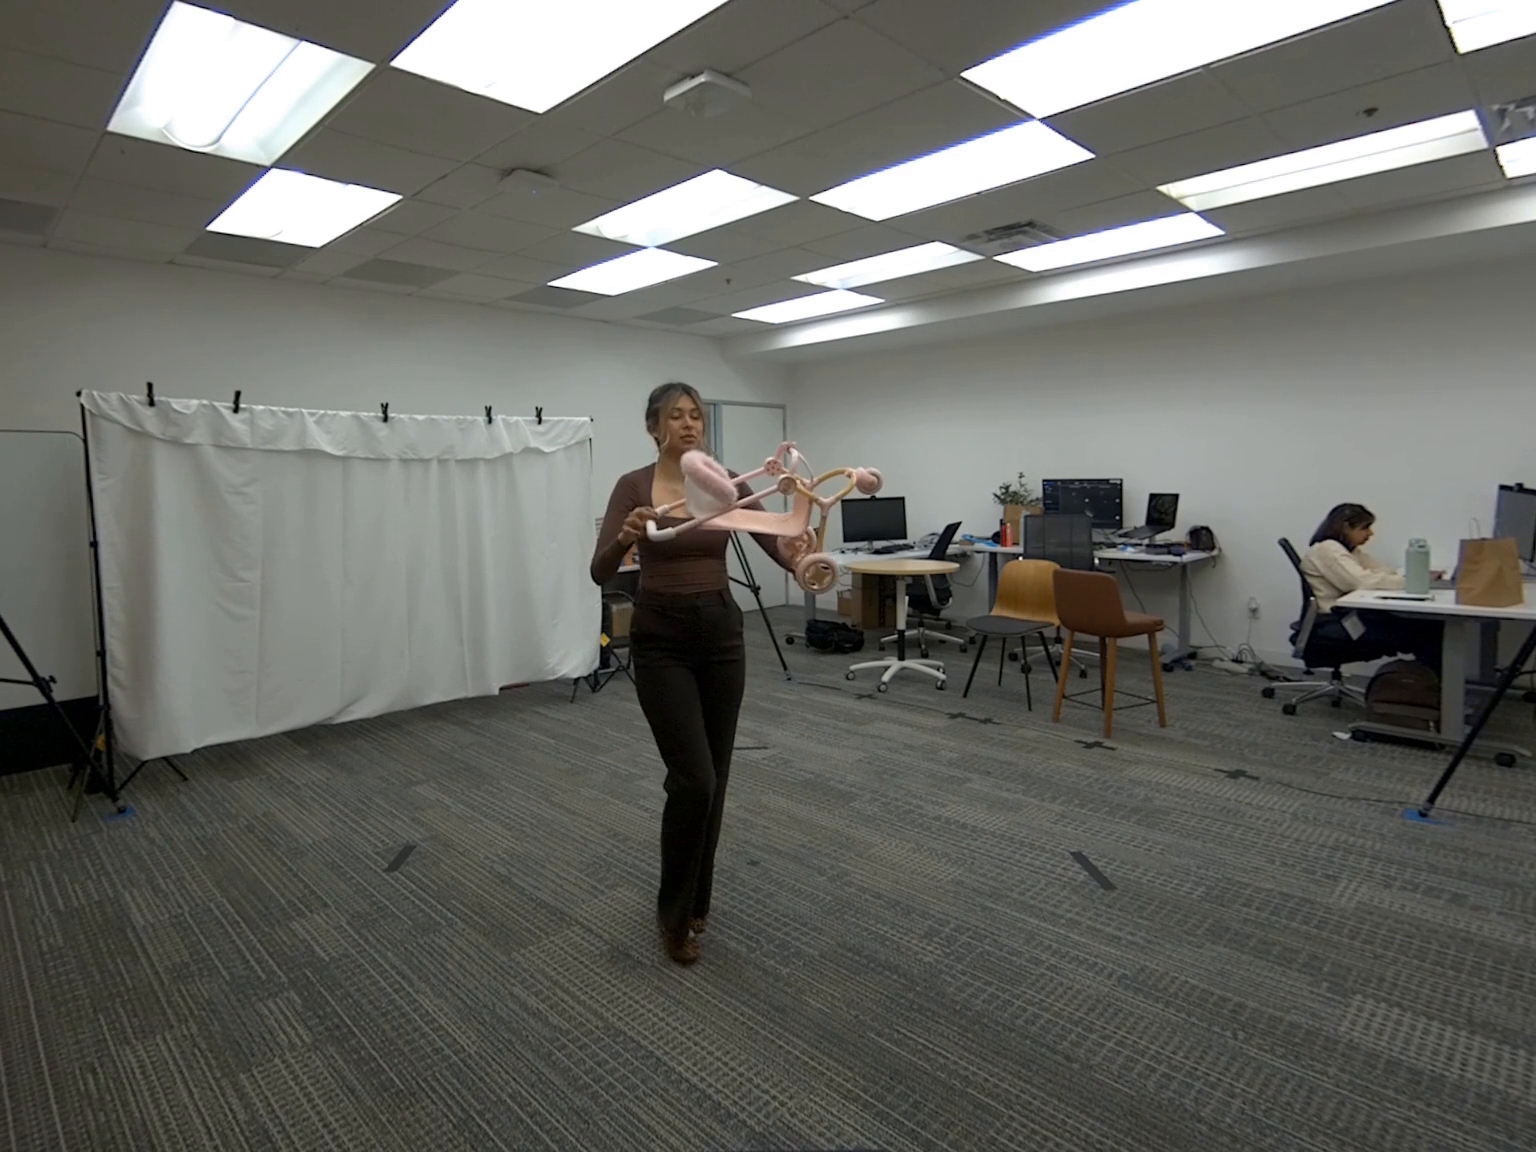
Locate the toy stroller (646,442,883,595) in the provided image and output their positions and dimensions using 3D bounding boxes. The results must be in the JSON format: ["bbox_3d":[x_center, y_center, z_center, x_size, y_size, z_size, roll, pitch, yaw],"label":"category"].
[{"bbox_3d":[0.010,-0.185,2.162,0.527,0.338,0.288,18,20,-13],"label":"toy stroller"}]
